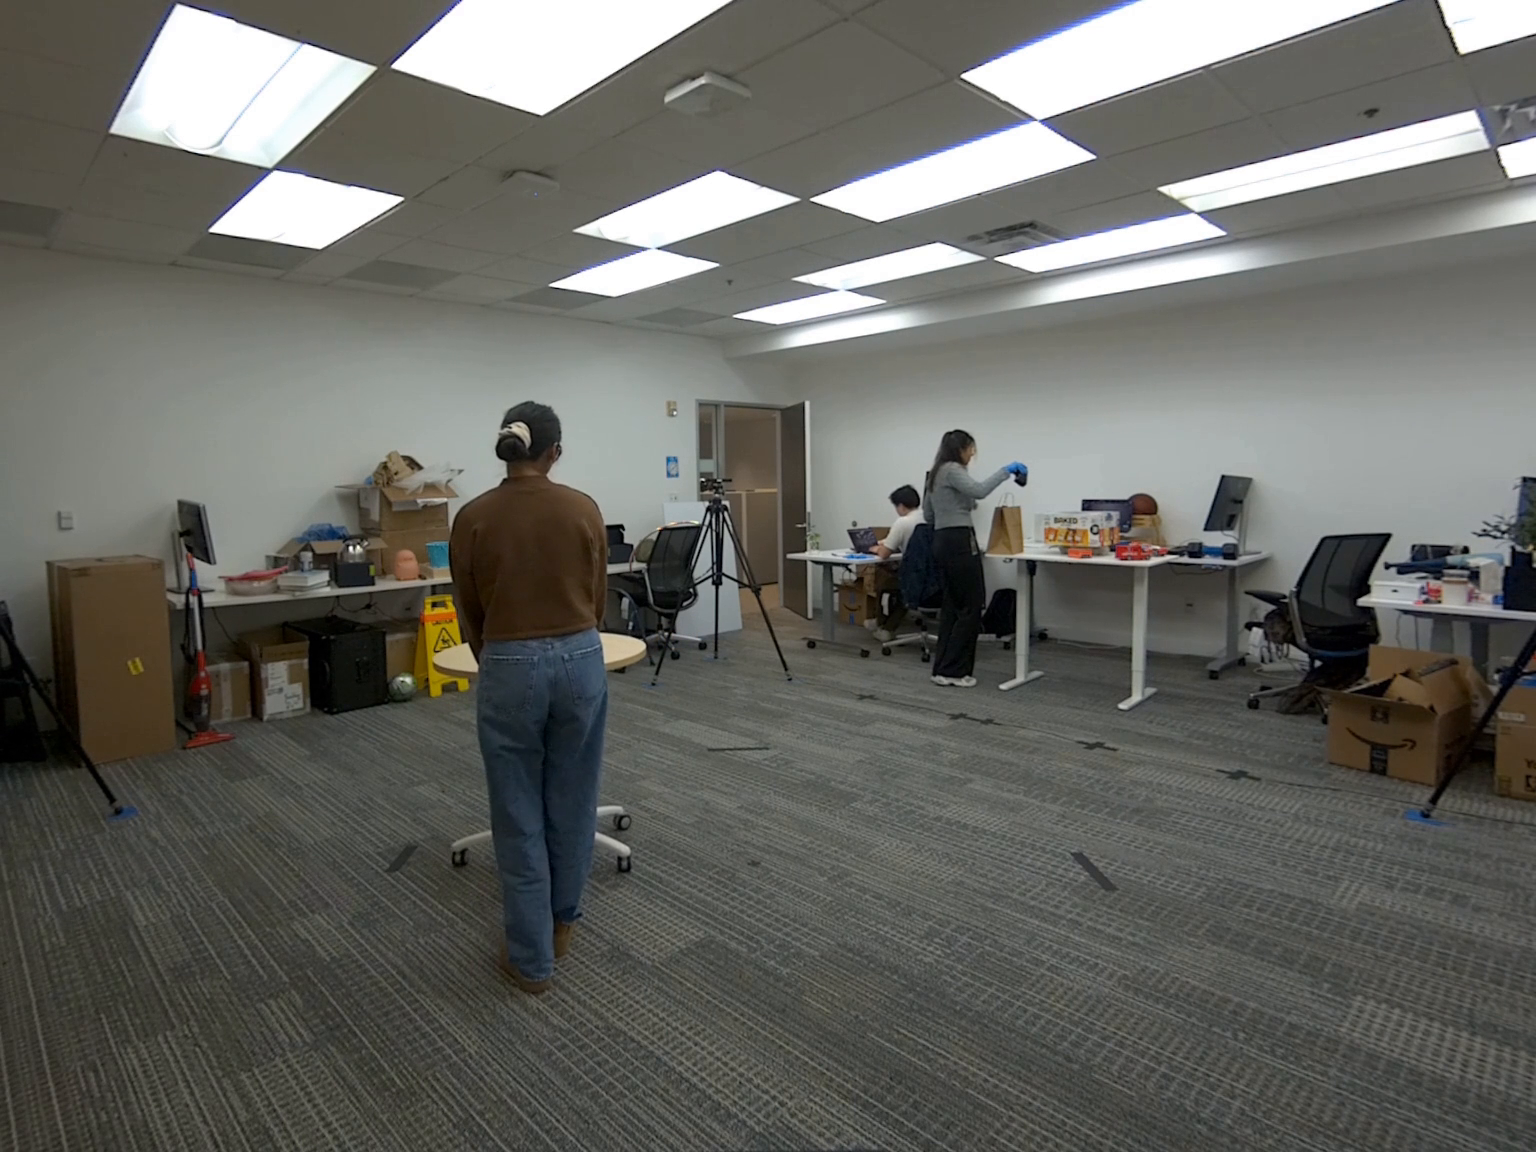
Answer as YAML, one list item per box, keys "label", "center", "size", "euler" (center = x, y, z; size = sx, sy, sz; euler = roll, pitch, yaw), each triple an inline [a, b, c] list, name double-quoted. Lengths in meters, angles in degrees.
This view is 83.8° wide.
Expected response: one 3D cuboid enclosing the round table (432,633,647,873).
- label: "round table"
  center: [-0.813, 0.666, 3.167]
  size: [0.763, 0.791, 0.768]
  euler: [-2, 5, -2]
